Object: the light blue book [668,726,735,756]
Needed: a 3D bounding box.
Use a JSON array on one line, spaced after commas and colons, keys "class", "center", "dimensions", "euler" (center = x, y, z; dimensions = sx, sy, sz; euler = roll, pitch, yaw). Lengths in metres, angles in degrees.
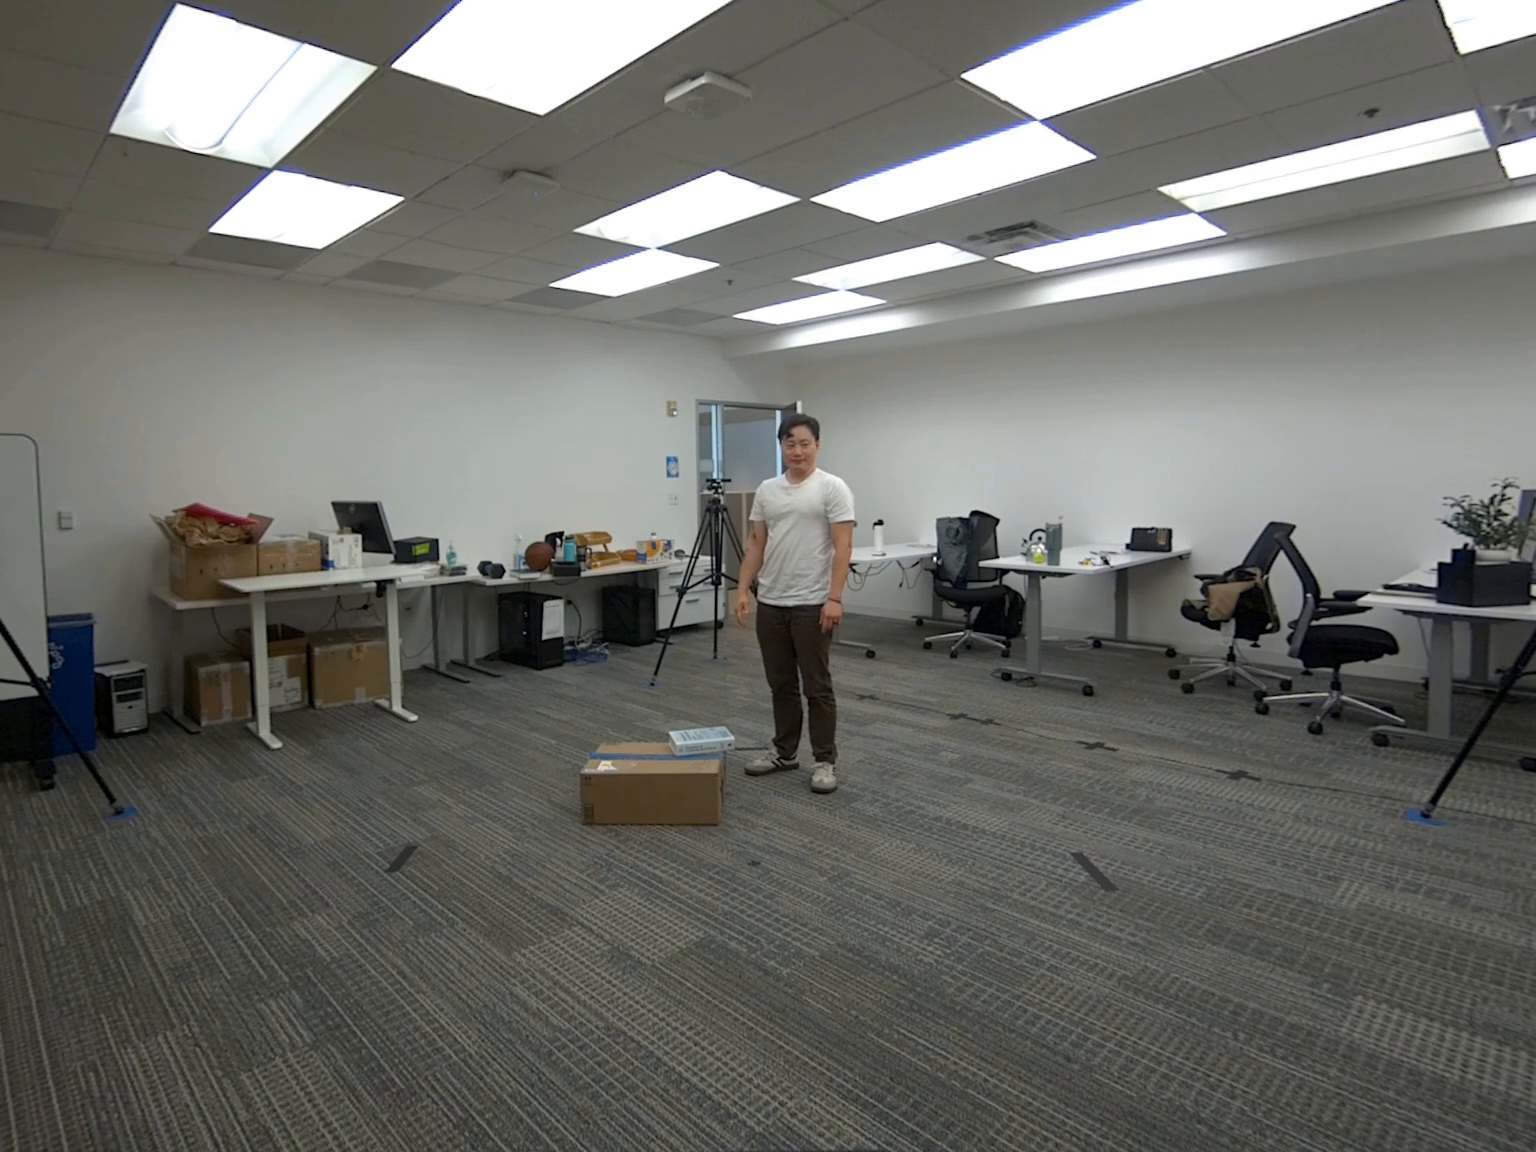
[{"class": "light blue book", "center": [-0.292, 0.733, 3.788], "dimensions": [0.257, 0.059, 0.195], "euler": [-3, 6, -15]}]
